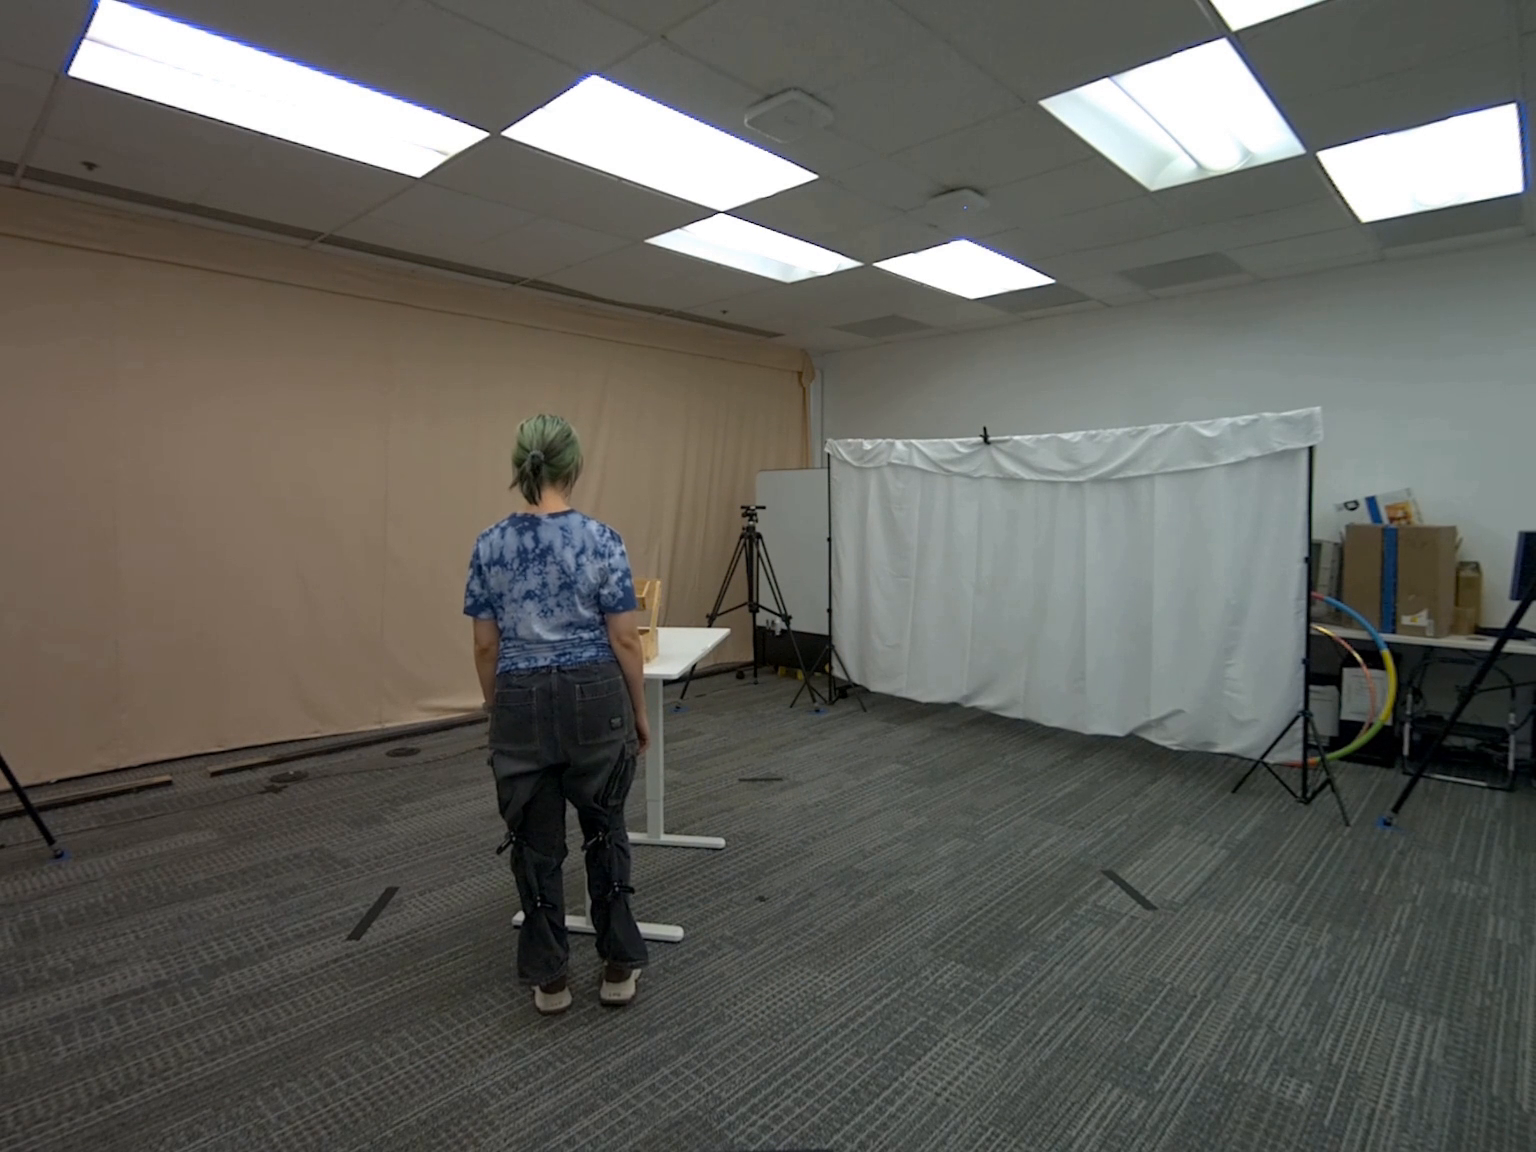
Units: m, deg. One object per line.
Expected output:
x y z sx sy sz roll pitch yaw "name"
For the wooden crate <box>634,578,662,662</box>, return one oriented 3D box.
-0.538 0.145 2.796 0.328 0.273 0.299 0 2 10 "wooden crate"
